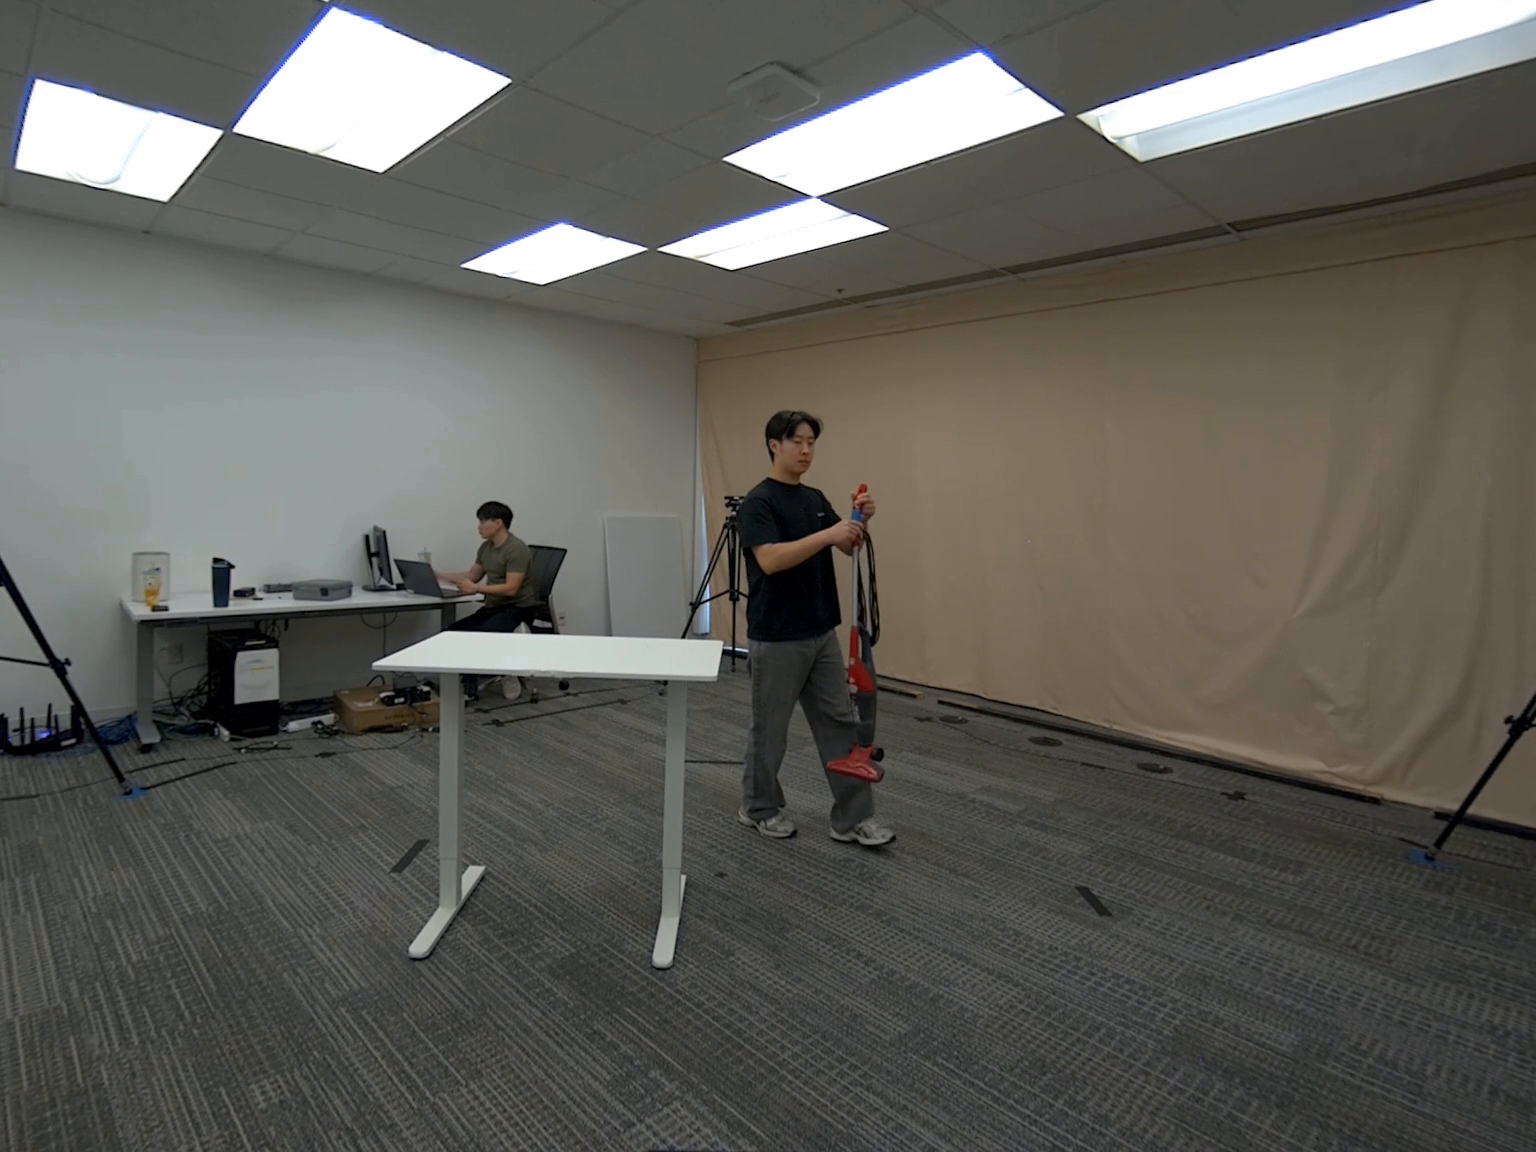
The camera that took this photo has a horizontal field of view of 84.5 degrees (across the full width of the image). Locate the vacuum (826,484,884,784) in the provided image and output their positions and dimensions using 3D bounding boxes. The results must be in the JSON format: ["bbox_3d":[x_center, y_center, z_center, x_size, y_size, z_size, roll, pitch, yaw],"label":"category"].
[{"bbox_3d":[0.358,0.192,3.200,0.259,1.050,0.140,1,-2,41],"label":"vacuum"}]
